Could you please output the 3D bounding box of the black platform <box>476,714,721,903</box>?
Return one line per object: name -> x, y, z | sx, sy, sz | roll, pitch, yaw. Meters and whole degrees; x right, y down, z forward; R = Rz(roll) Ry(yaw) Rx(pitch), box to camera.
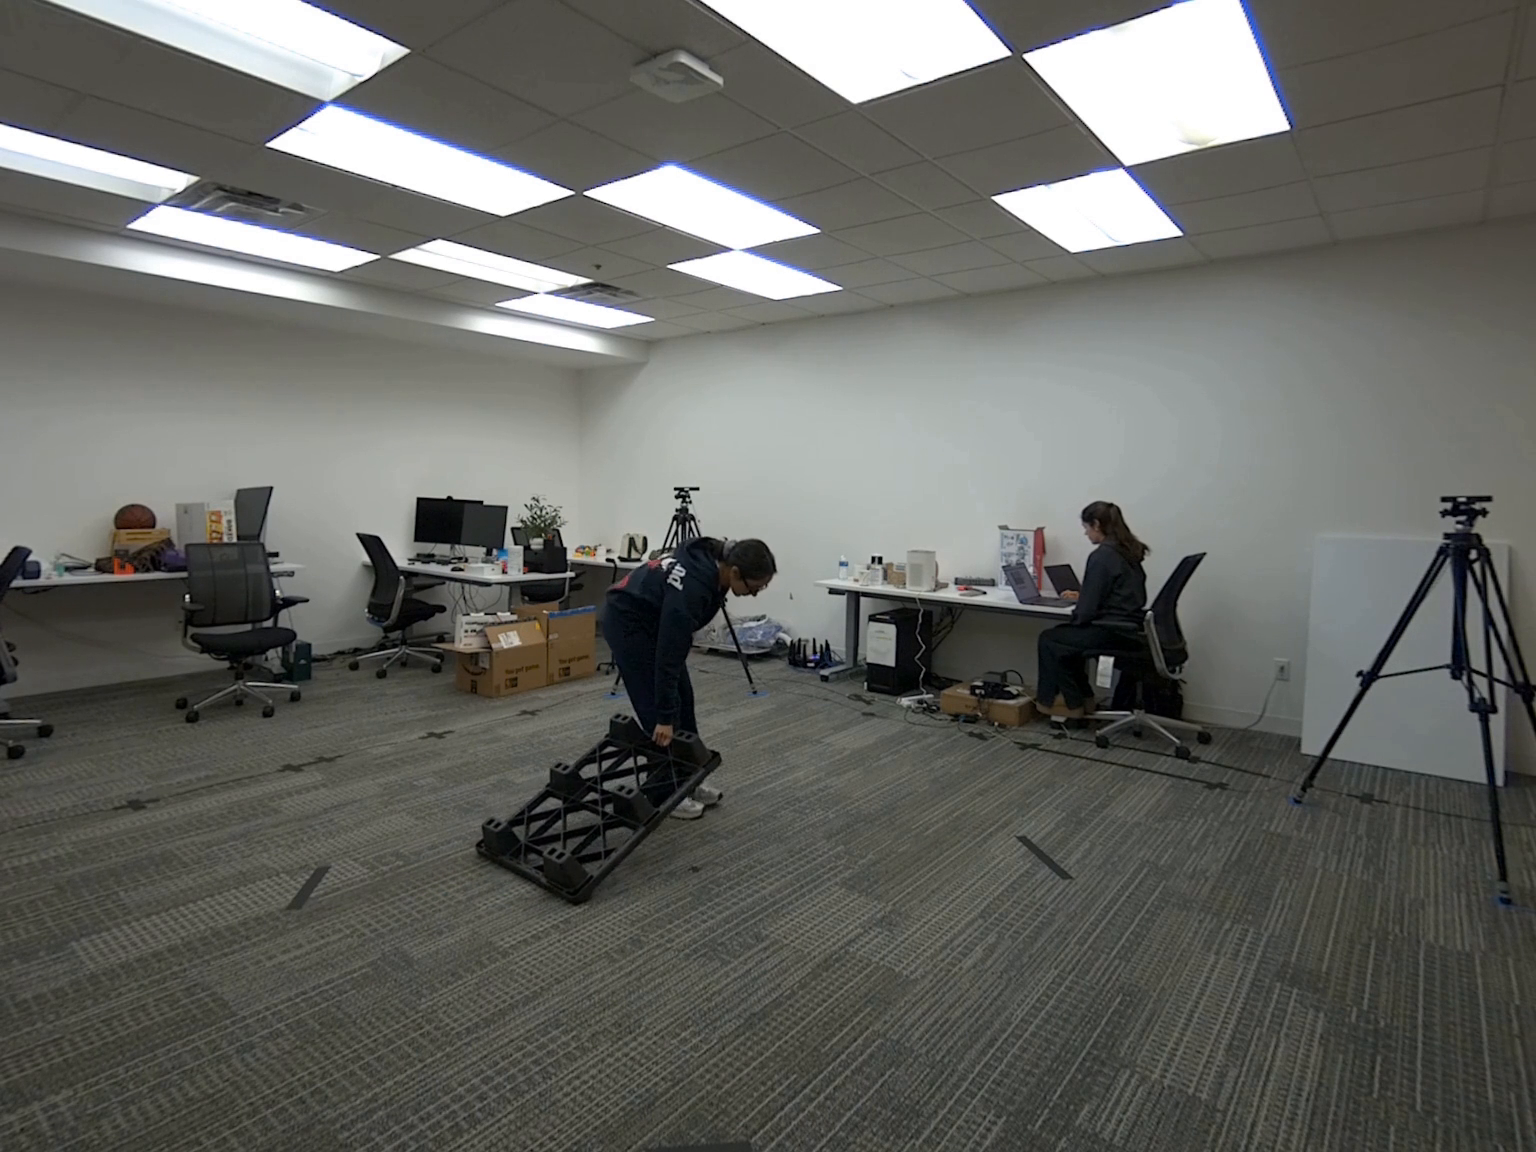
black platform -> -0.667, 0.832, 3.242 | 0.625, 0.140, 0.799 | 4, 31, 39
